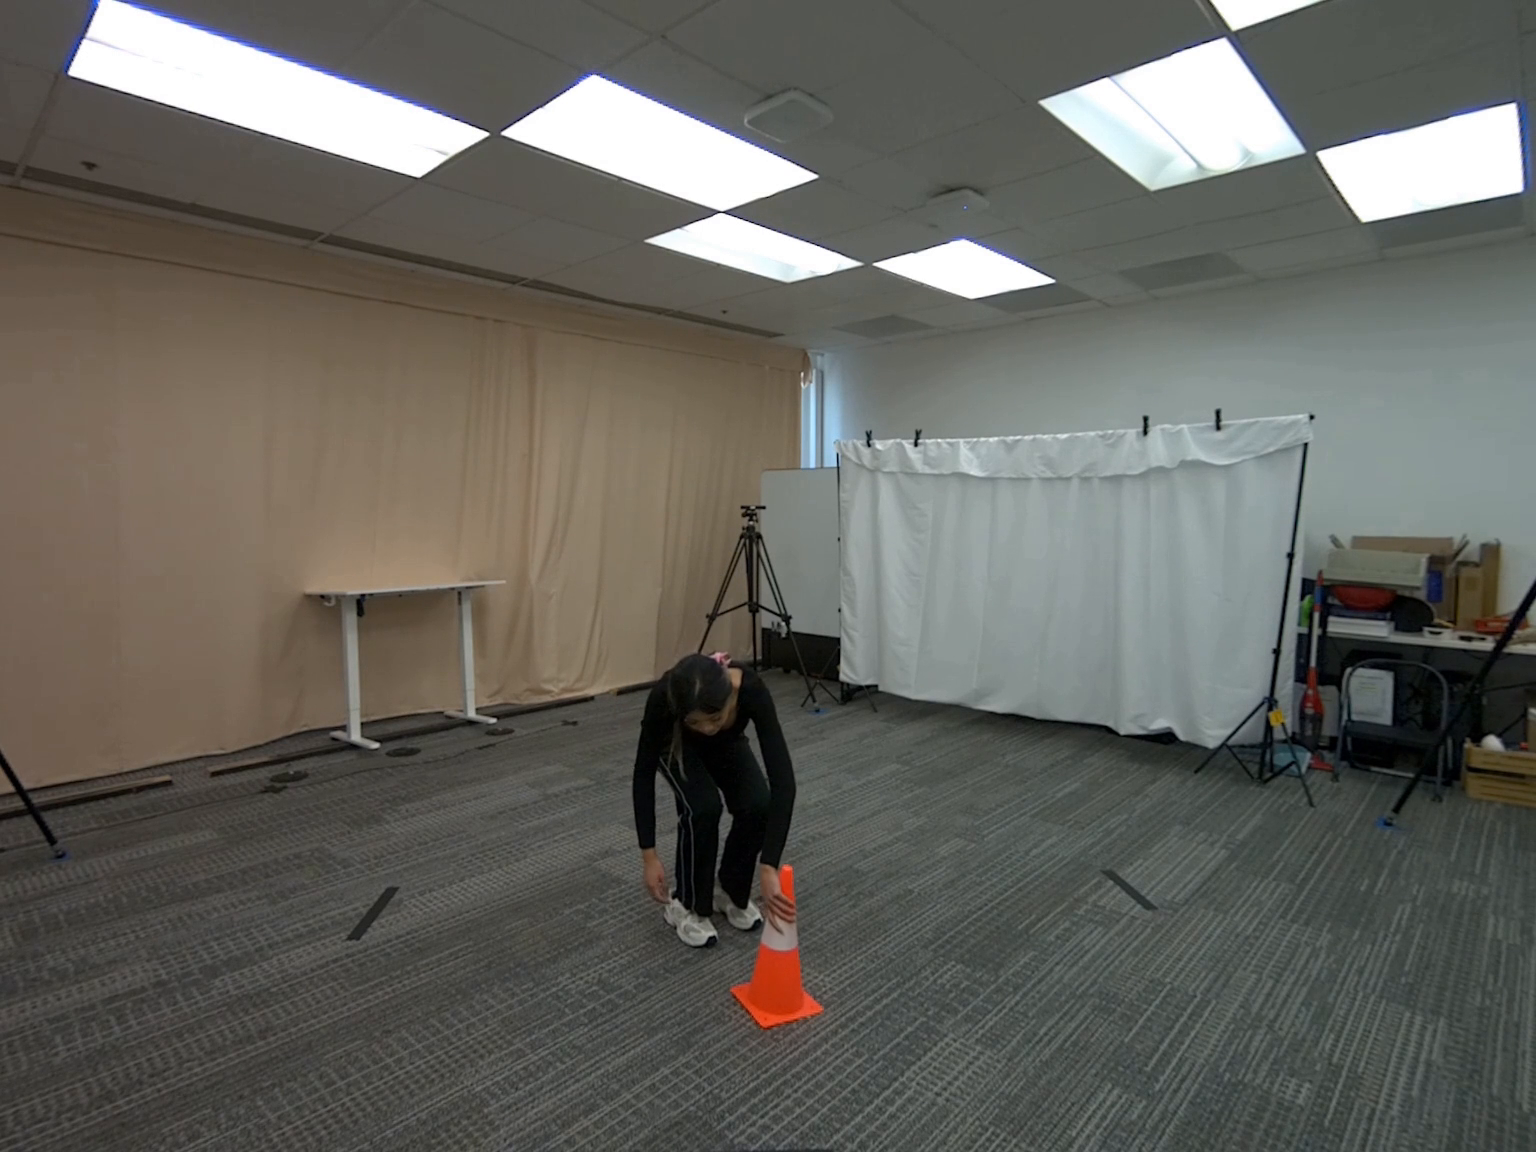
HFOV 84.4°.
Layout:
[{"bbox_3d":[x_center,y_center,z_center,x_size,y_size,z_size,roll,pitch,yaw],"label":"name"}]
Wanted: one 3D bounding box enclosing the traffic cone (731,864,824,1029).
[{"bbox_3d":[0.042,1.005,2.354,0.198,0.383,0.210,3,4,-25],"label":"traffic cone"}]
